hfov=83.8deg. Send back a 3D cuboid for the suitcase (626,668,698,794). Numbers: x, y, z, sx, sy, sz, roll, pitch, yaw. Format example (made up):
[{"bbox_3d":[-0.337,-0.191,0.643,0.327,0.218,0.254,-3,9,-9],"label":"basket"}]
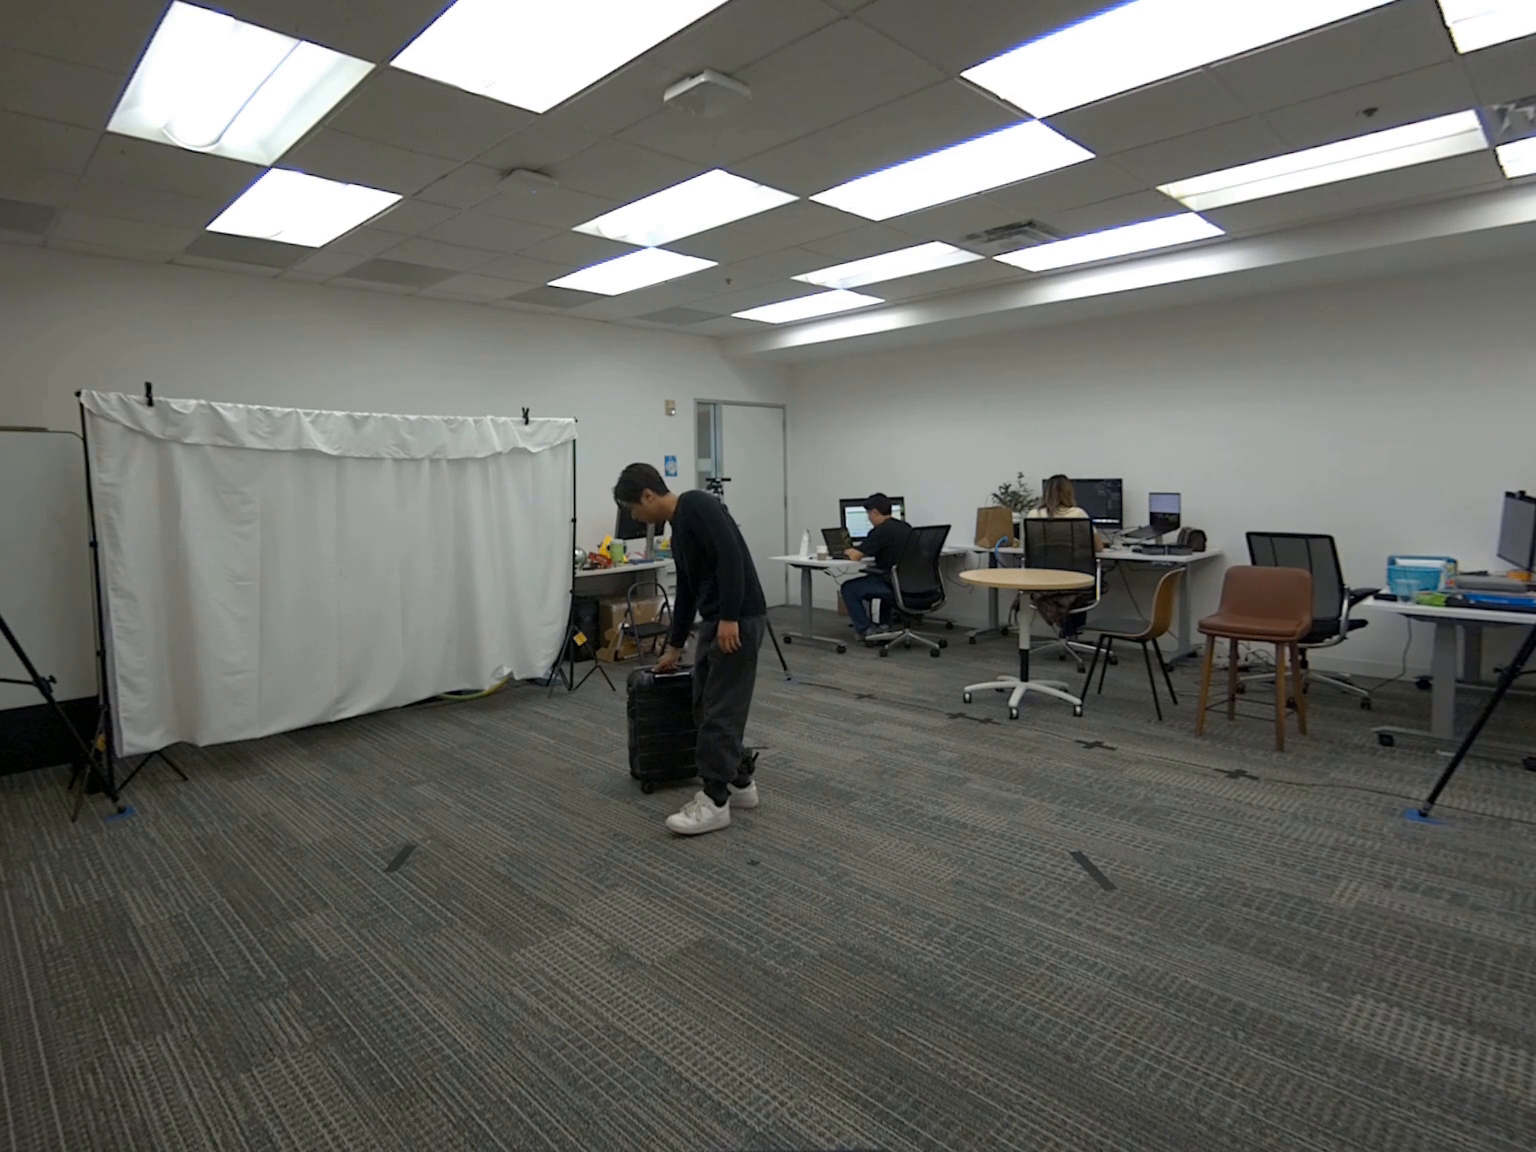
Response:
[{"bbox_3d":[-0.467,0.681,3.943,0.369,0.547,0.253,-4,5,-19],"label":"suitcase"}]
